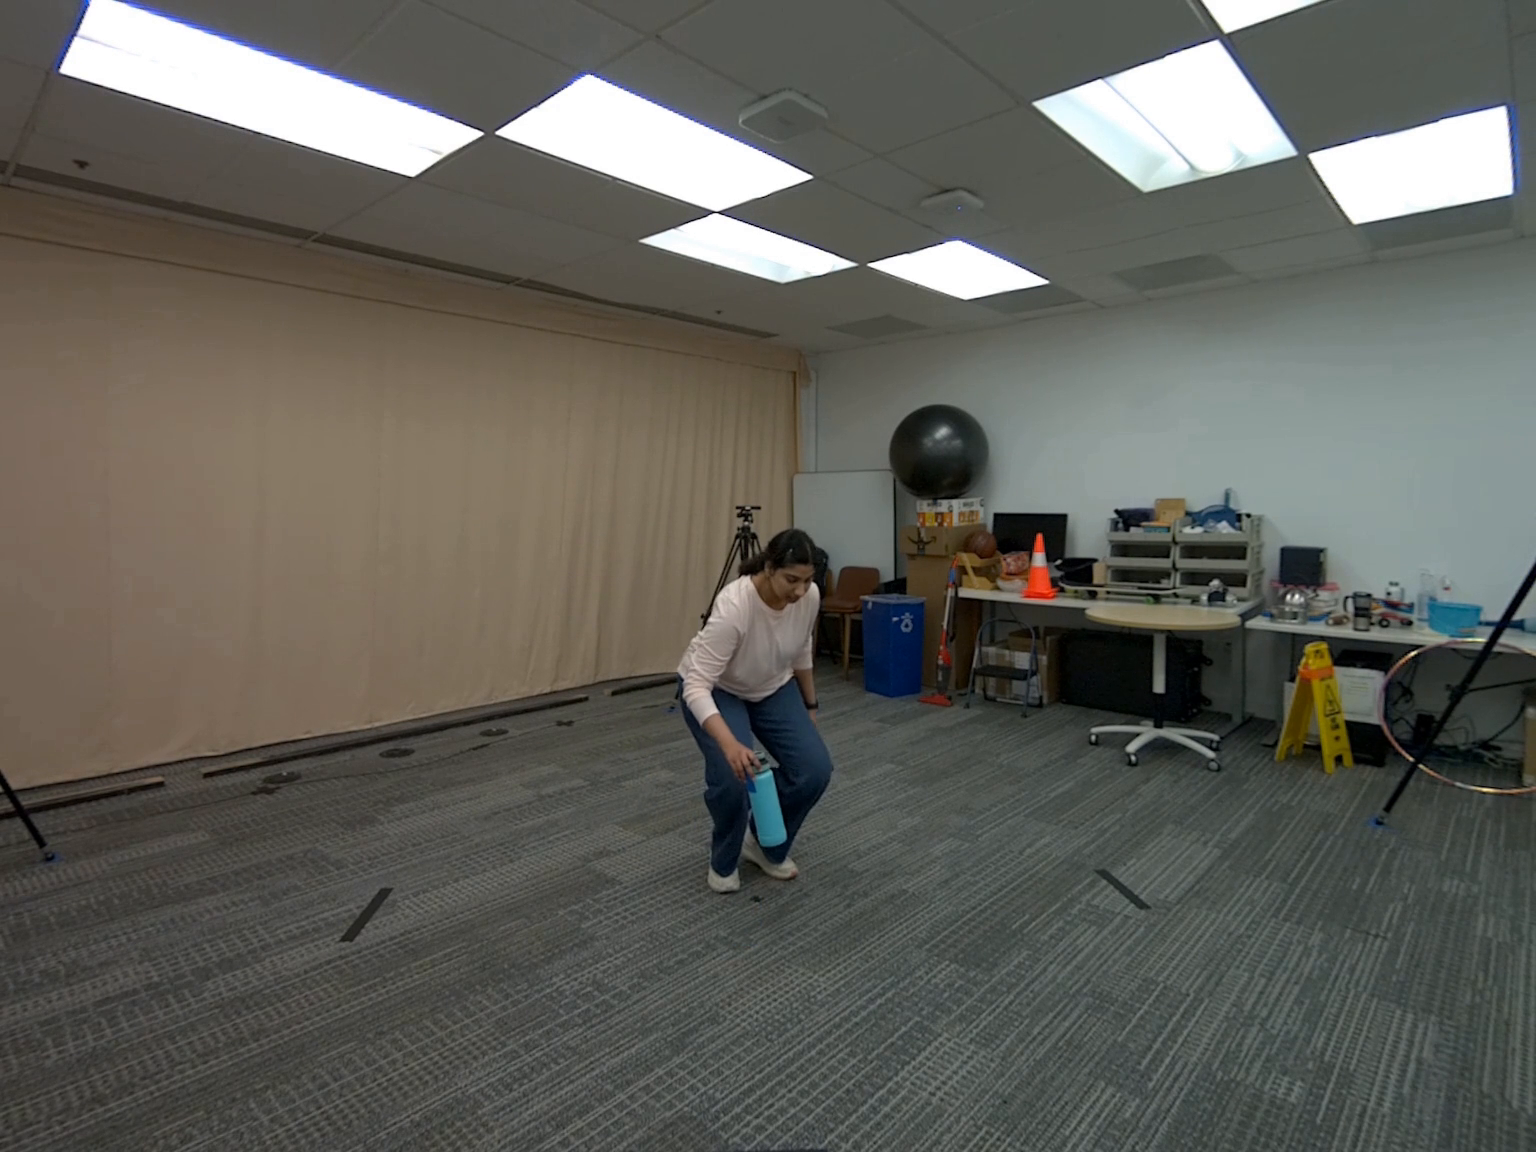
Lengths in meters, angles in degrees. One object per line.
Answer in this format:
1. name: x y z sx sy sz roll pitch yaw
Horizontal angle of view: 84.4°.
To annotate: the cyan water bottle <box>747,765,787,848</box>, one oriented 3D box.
1. cyan water bottle: -0.017 0.704 2.668 0.092 0.283 0.092 -11 2 -1
